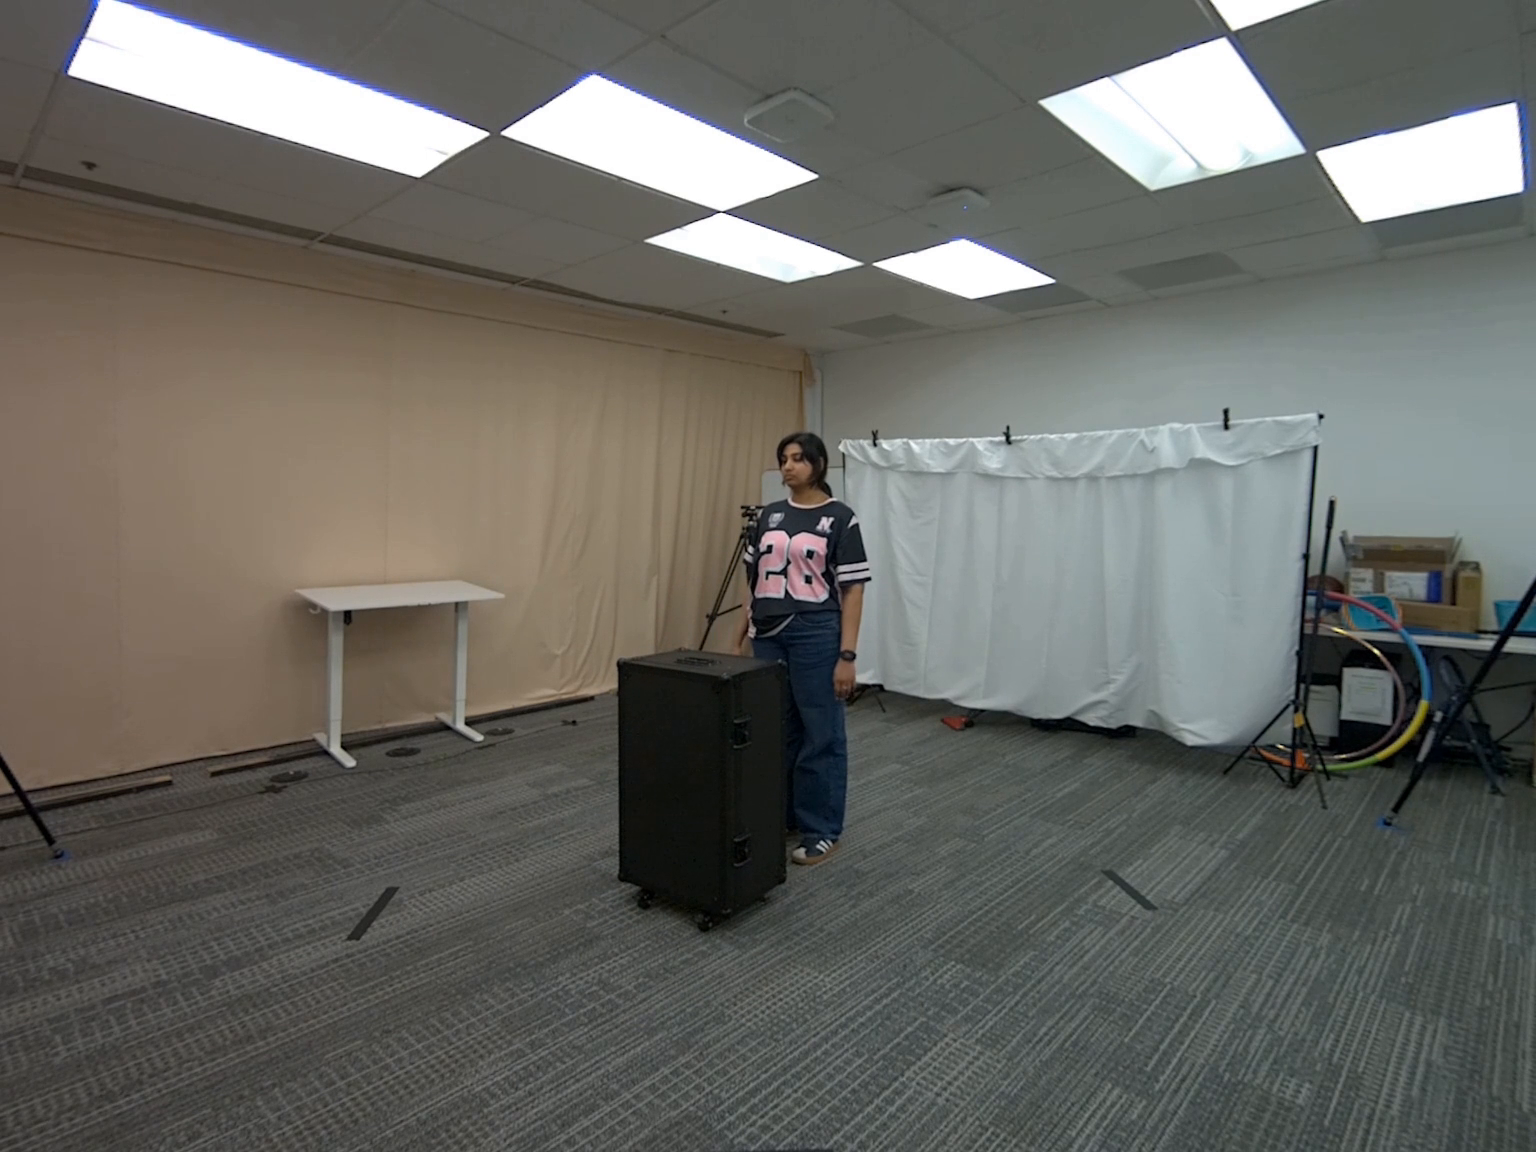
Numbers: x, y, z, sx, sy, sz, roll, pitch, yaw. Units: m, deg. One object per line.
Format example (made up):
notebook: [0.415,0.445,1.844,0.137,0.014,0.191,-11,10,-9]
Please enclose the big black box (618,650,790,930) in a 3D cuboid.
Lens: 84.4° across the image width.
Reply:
big black box: [-0.238,0.727,2.965,0.540,0.867,0.374,2,3,36]
